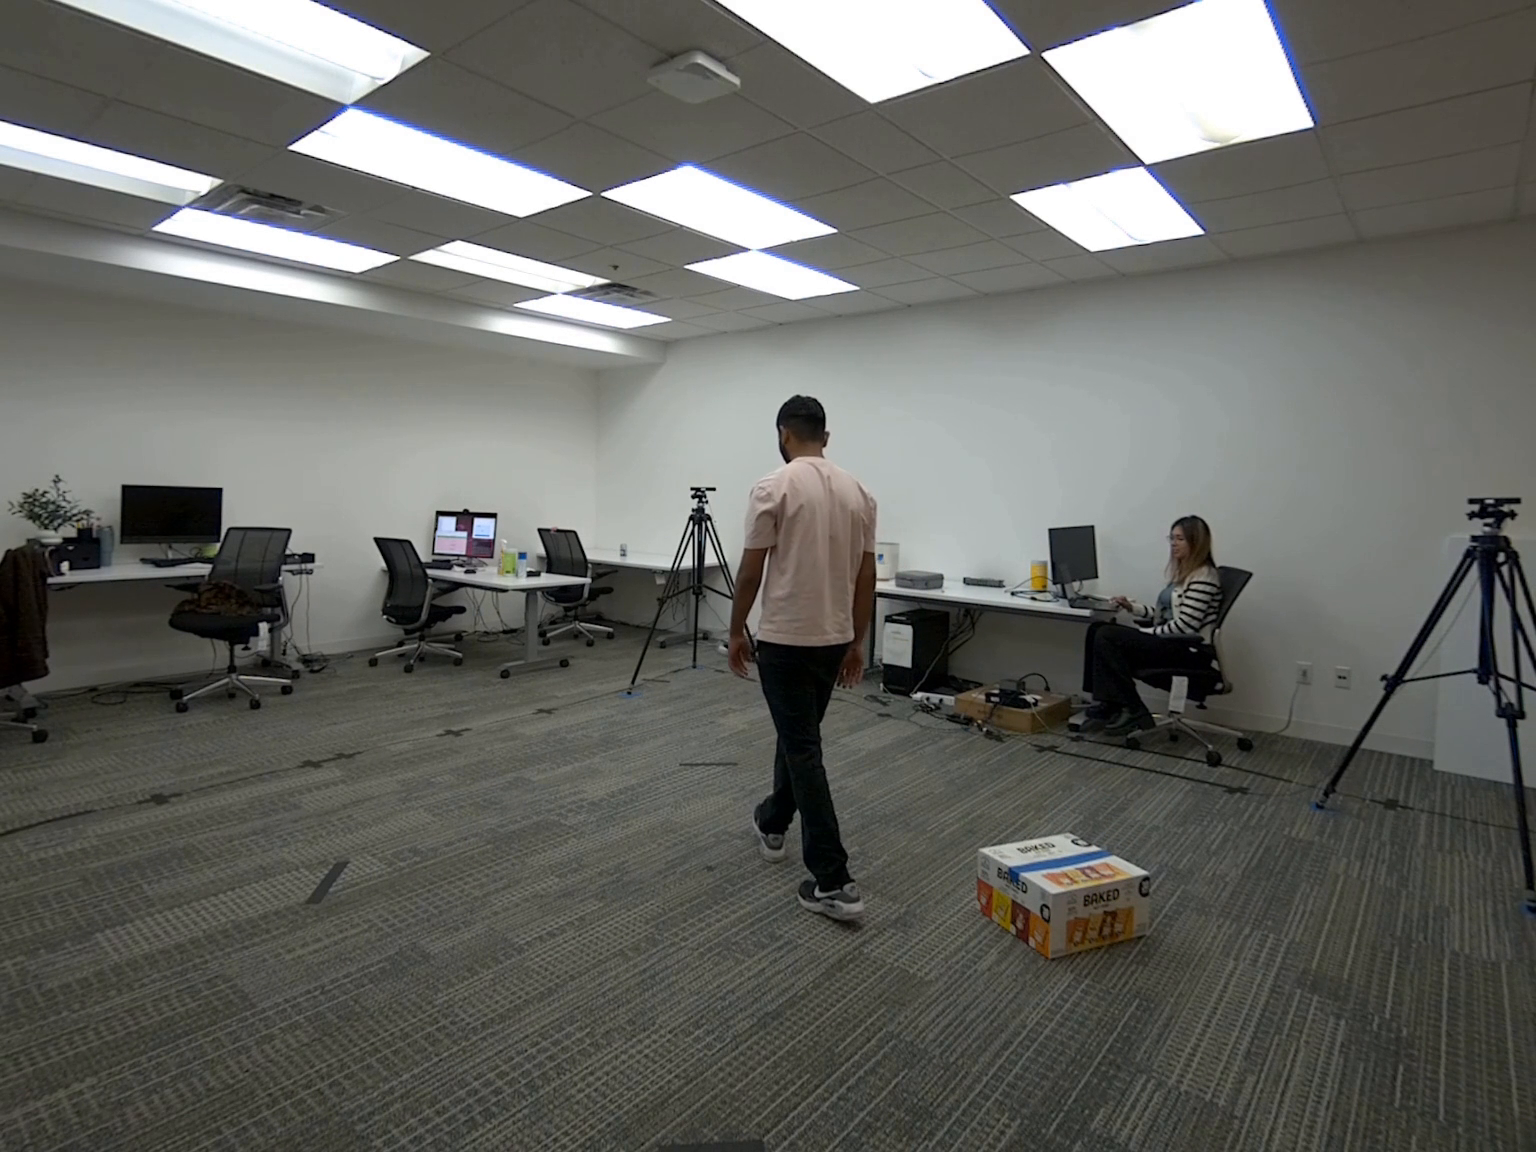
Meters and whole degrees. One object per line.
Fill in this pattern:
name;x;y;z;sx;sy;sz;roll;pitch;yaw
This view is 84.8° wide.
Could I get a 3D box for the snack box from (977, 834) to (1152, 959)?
snack box;0.955;1.025;2.780;0.396;0.205;0.349;-2;6;-24
